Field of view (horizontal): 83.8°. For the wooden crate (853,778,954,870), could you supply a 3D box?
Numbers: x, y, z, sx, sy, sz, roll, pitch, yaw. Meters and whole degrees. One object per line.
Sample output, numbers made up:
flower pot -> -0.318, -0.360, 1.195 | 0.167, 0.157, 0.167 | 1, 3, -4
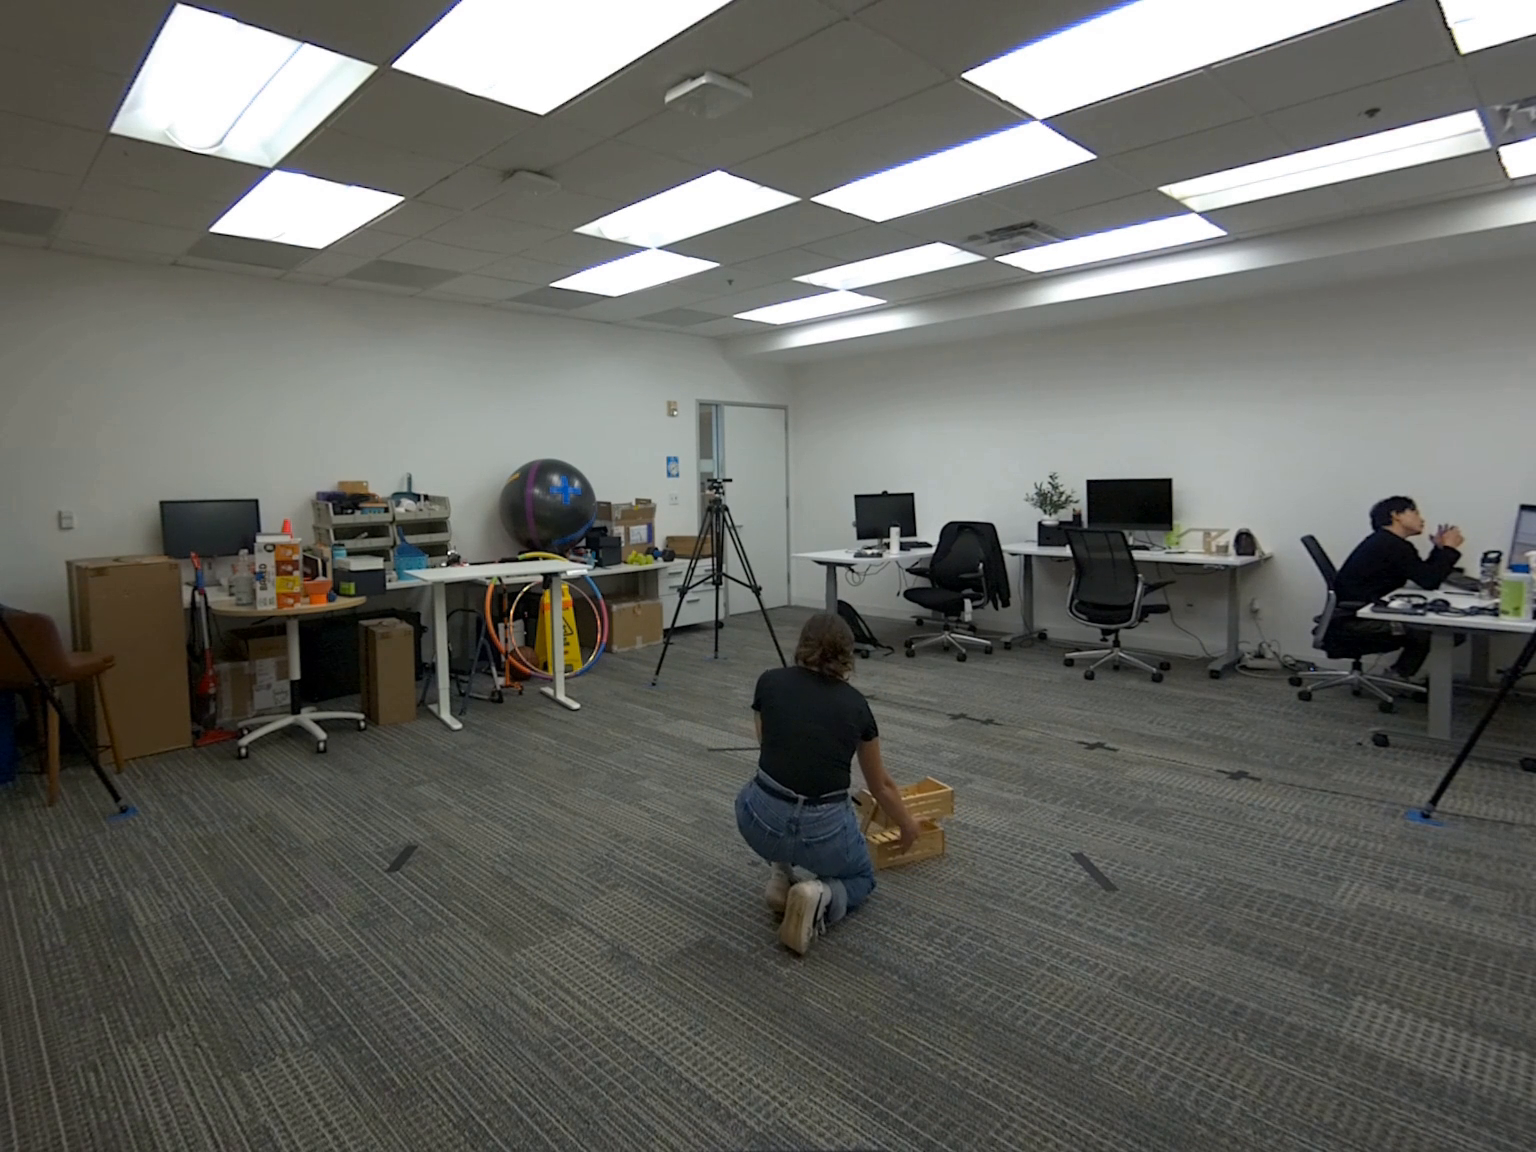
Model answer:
wooden crate -> 0.476, 0.893, 3.183 | 0.317, 0.272, 0.310 | -4, 6, -27
